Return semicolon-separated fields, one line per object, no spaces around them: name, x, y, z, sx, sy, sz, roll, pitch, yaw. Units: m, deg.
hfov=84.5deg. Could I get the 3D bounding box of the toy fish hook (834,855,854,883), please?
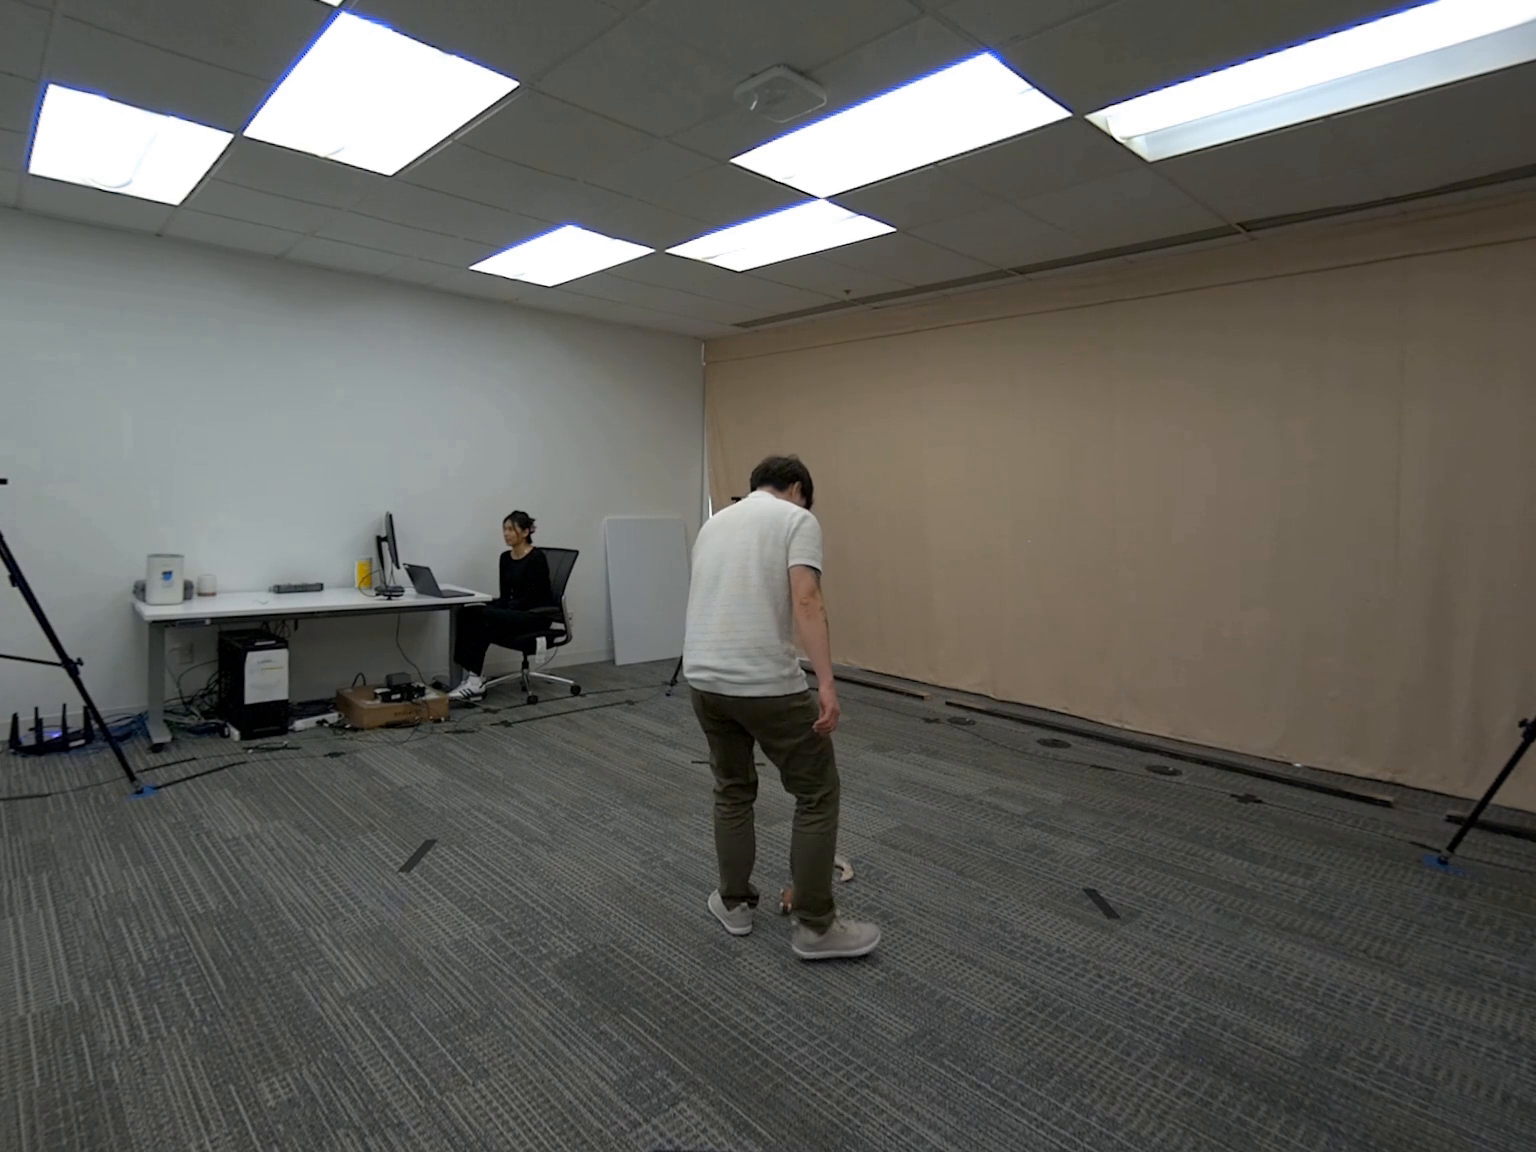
toy fish hook;0.169;1.101;3.024;0.228;0.048;0.501;1;5;17
